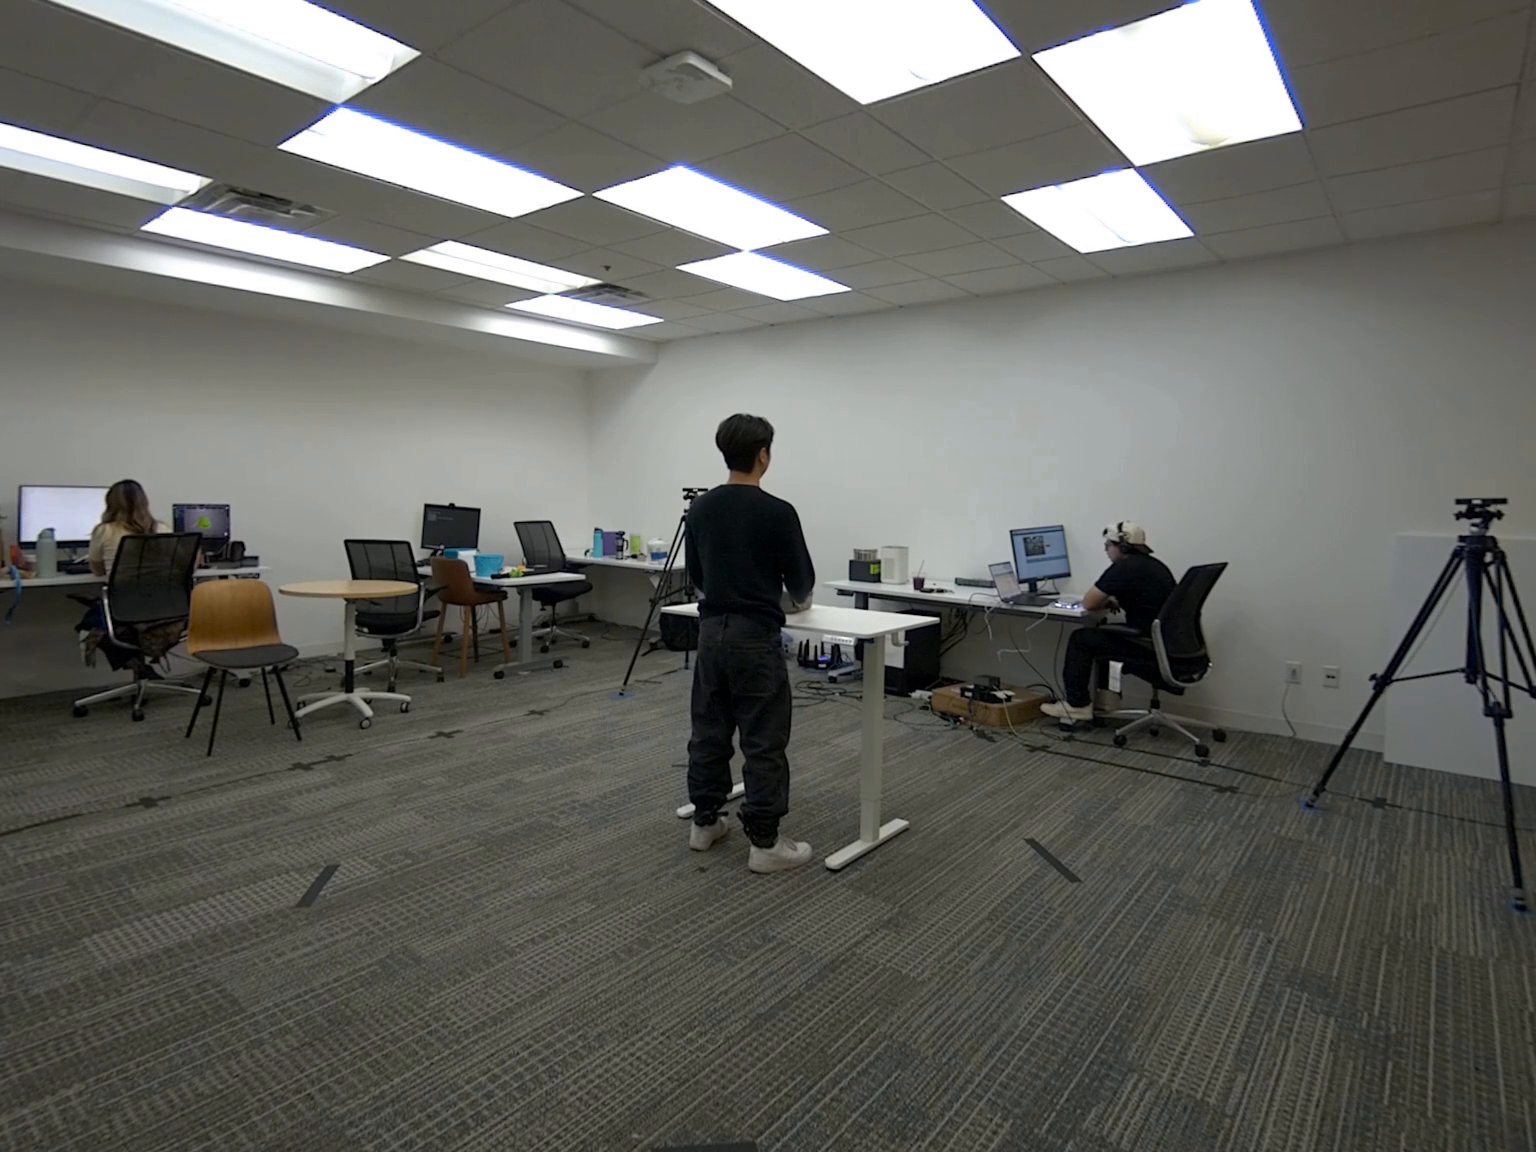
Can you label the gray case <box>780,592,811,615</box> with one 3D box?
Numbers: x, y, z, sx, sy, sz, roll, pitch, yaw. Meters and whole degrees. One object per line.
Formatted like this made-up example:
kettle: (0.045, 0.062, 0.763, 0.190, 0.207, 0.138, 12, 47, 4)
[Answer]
gray case: (0.035, 0.089, 3.649, 0.265, 0.104, 0.254, 4, 6, 30)
